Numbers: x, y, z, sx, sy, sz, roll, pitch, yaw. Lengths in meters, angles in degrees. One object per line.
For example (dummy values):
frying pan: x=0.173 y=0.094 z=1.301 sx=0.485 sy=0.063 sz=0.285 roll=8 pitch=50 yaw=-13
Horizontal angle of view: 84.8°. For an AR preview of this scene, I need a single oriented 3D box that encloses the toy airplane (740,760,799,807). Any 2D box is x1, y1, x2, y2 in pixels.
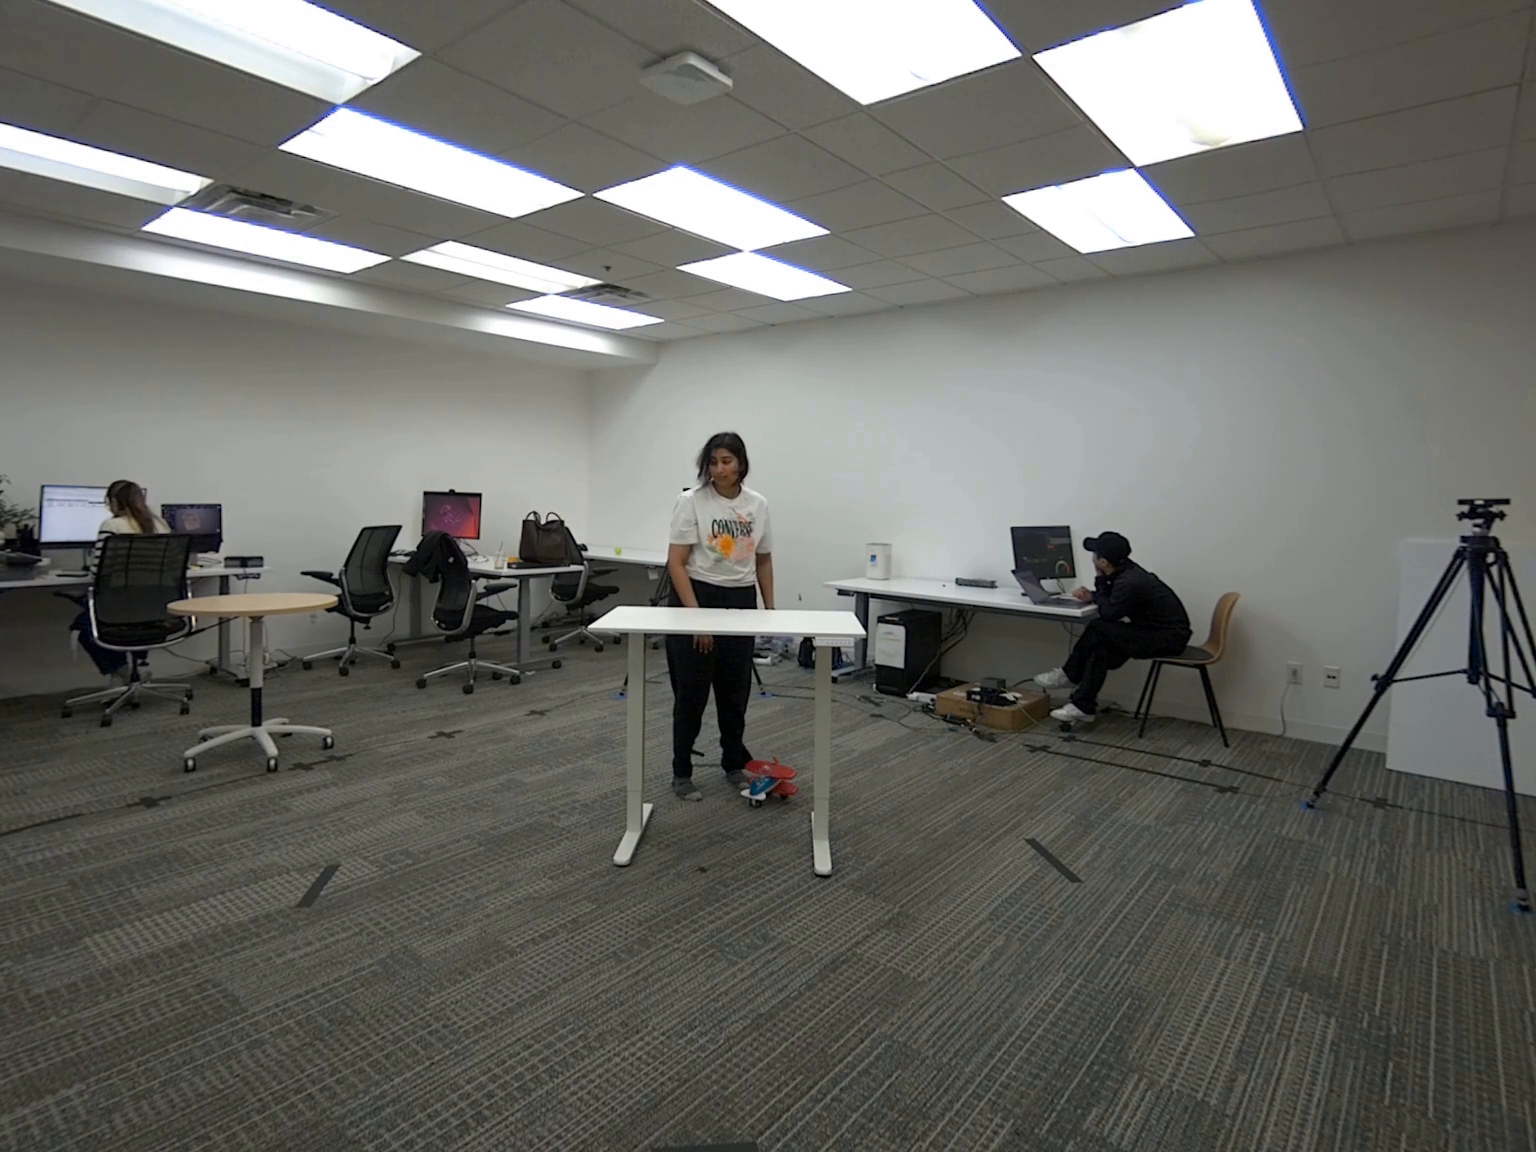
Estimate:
toy airplane: x=0.003 y=0.934 z=3.808 sx=0.253 sy=0.156 sz=0.258 roll=2 pitch=4 yaw=7
